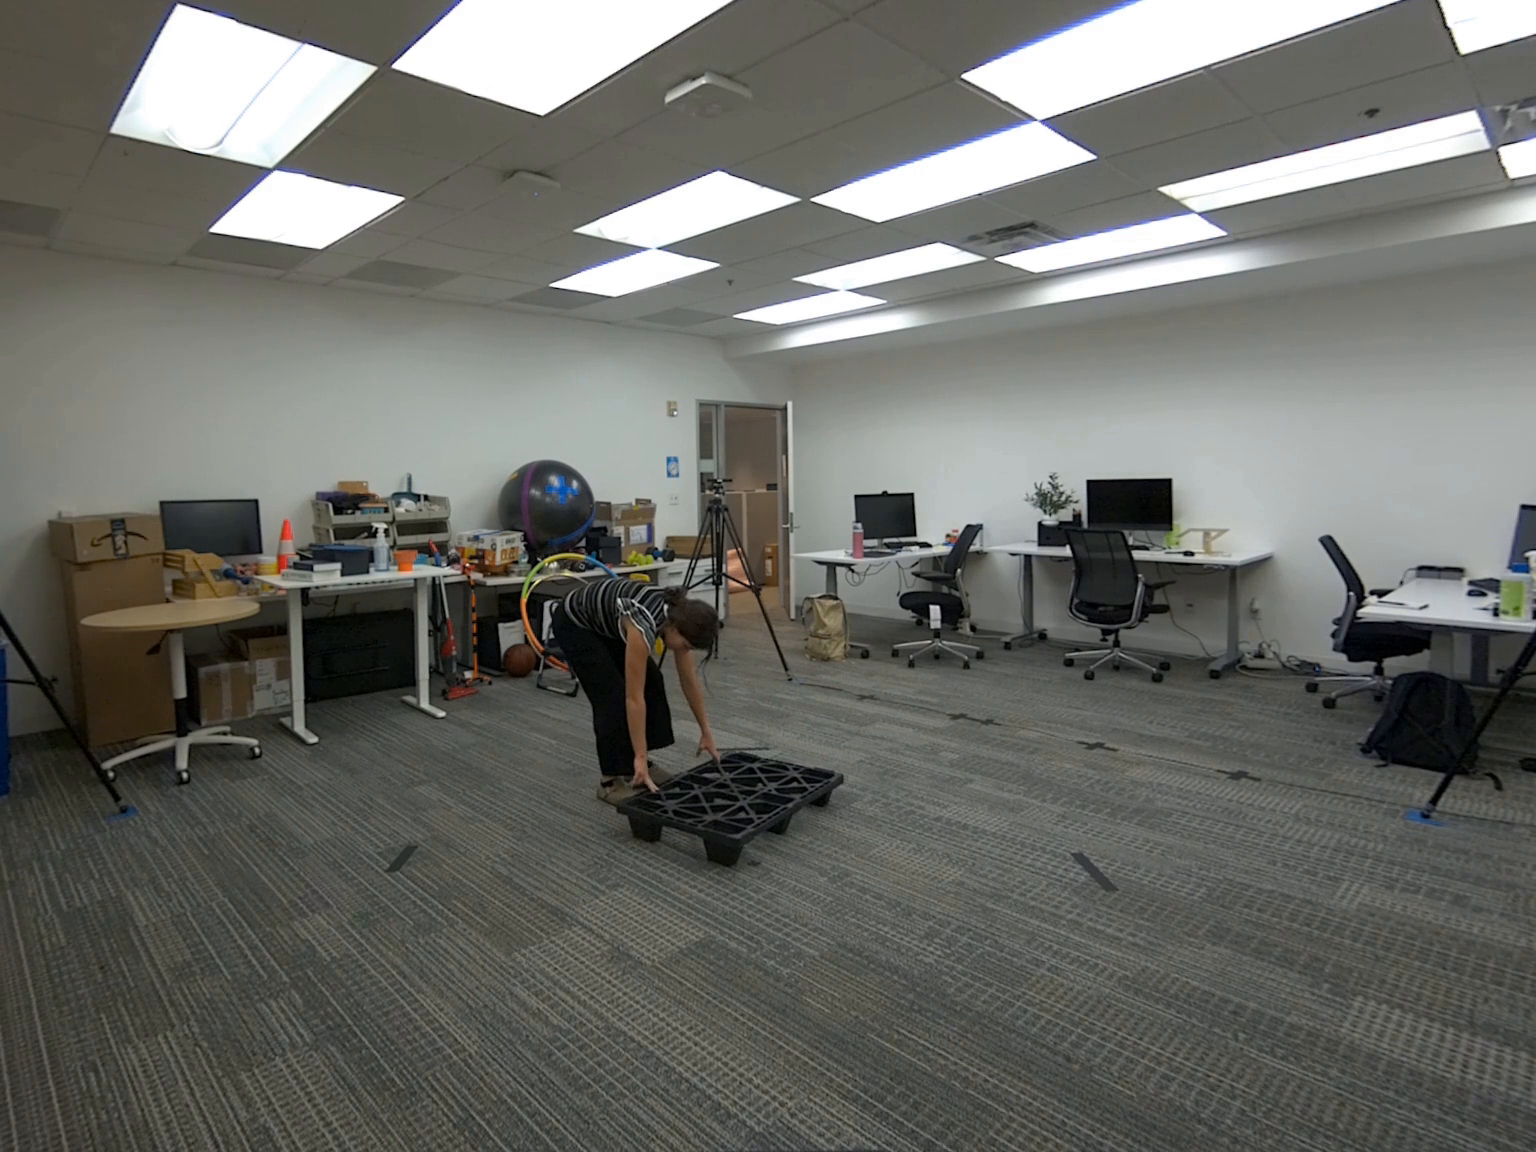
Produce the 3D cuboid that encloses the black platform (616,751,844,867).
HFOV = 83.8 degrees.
[{"bbox_3d":[-0.126,0.935,3.498,0.623,0.142,0.786,4,8,34],"label":"black platform"}]
